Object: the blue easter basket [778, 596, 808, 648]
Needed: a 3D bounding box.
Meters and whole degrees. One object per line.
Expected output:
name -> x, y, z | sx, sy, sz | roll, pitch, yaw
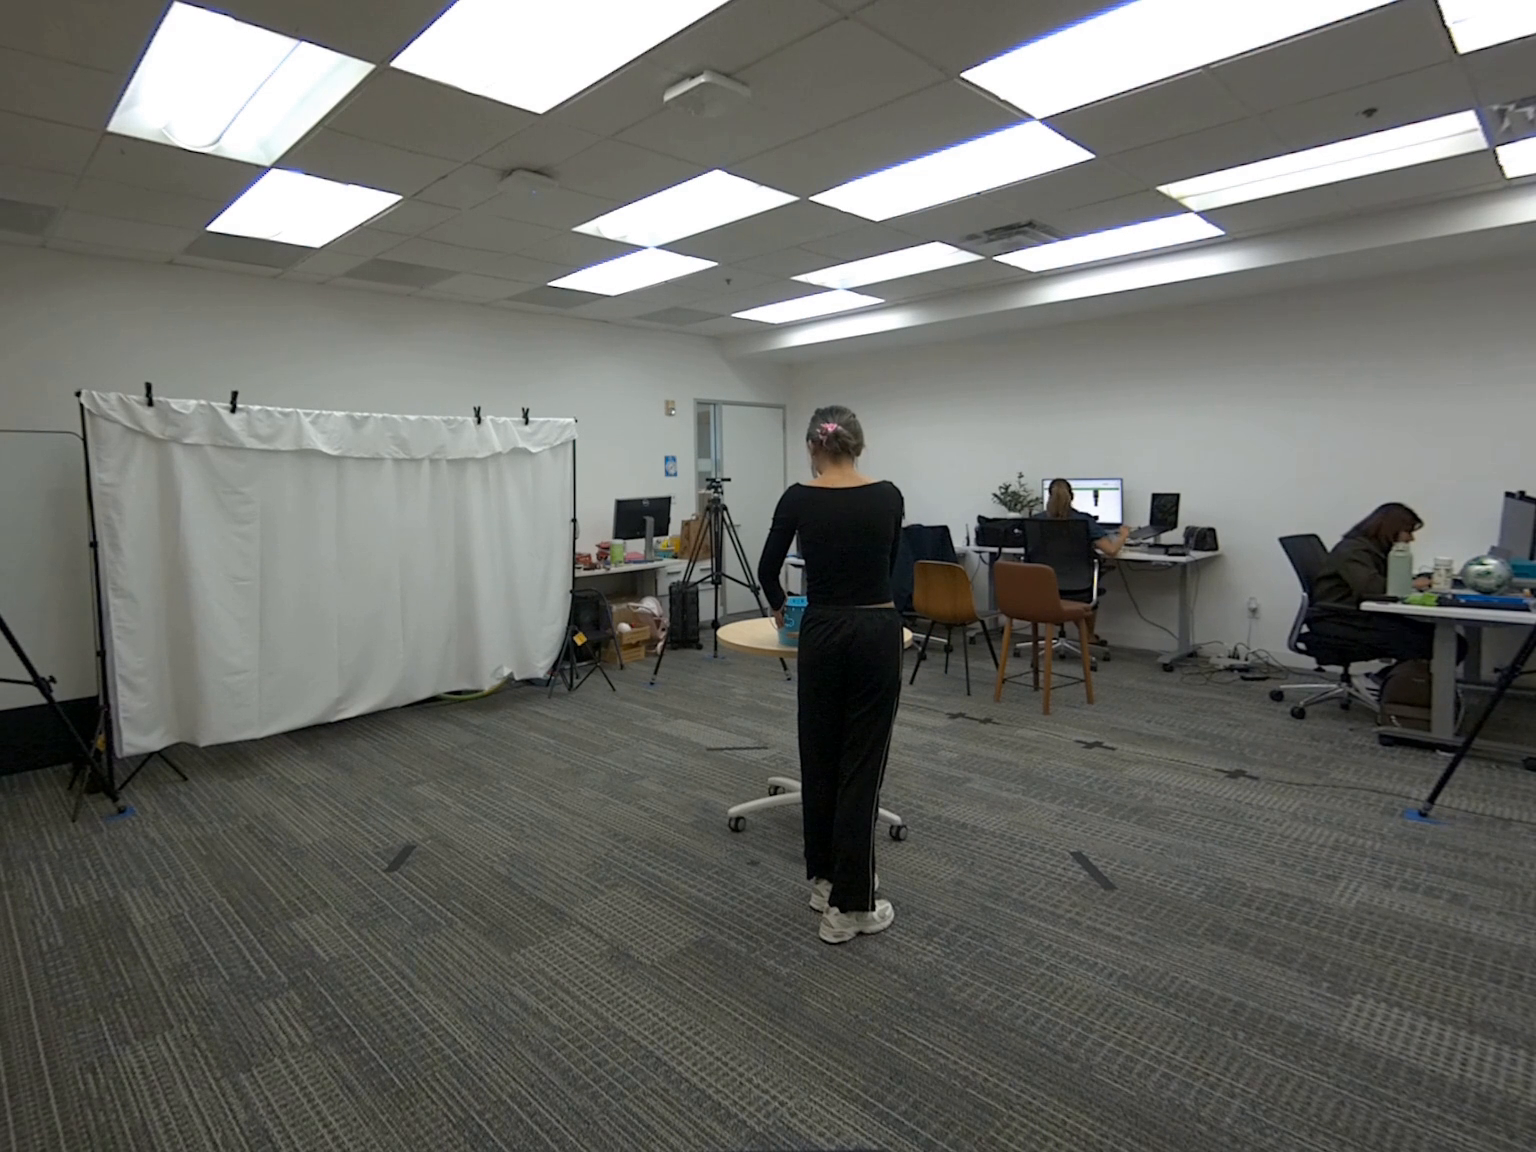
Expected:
blue easter basket -> 0.136, 0.172, 3.180 | 0.243, 0.155, 0.245 | 1, 5, -2
